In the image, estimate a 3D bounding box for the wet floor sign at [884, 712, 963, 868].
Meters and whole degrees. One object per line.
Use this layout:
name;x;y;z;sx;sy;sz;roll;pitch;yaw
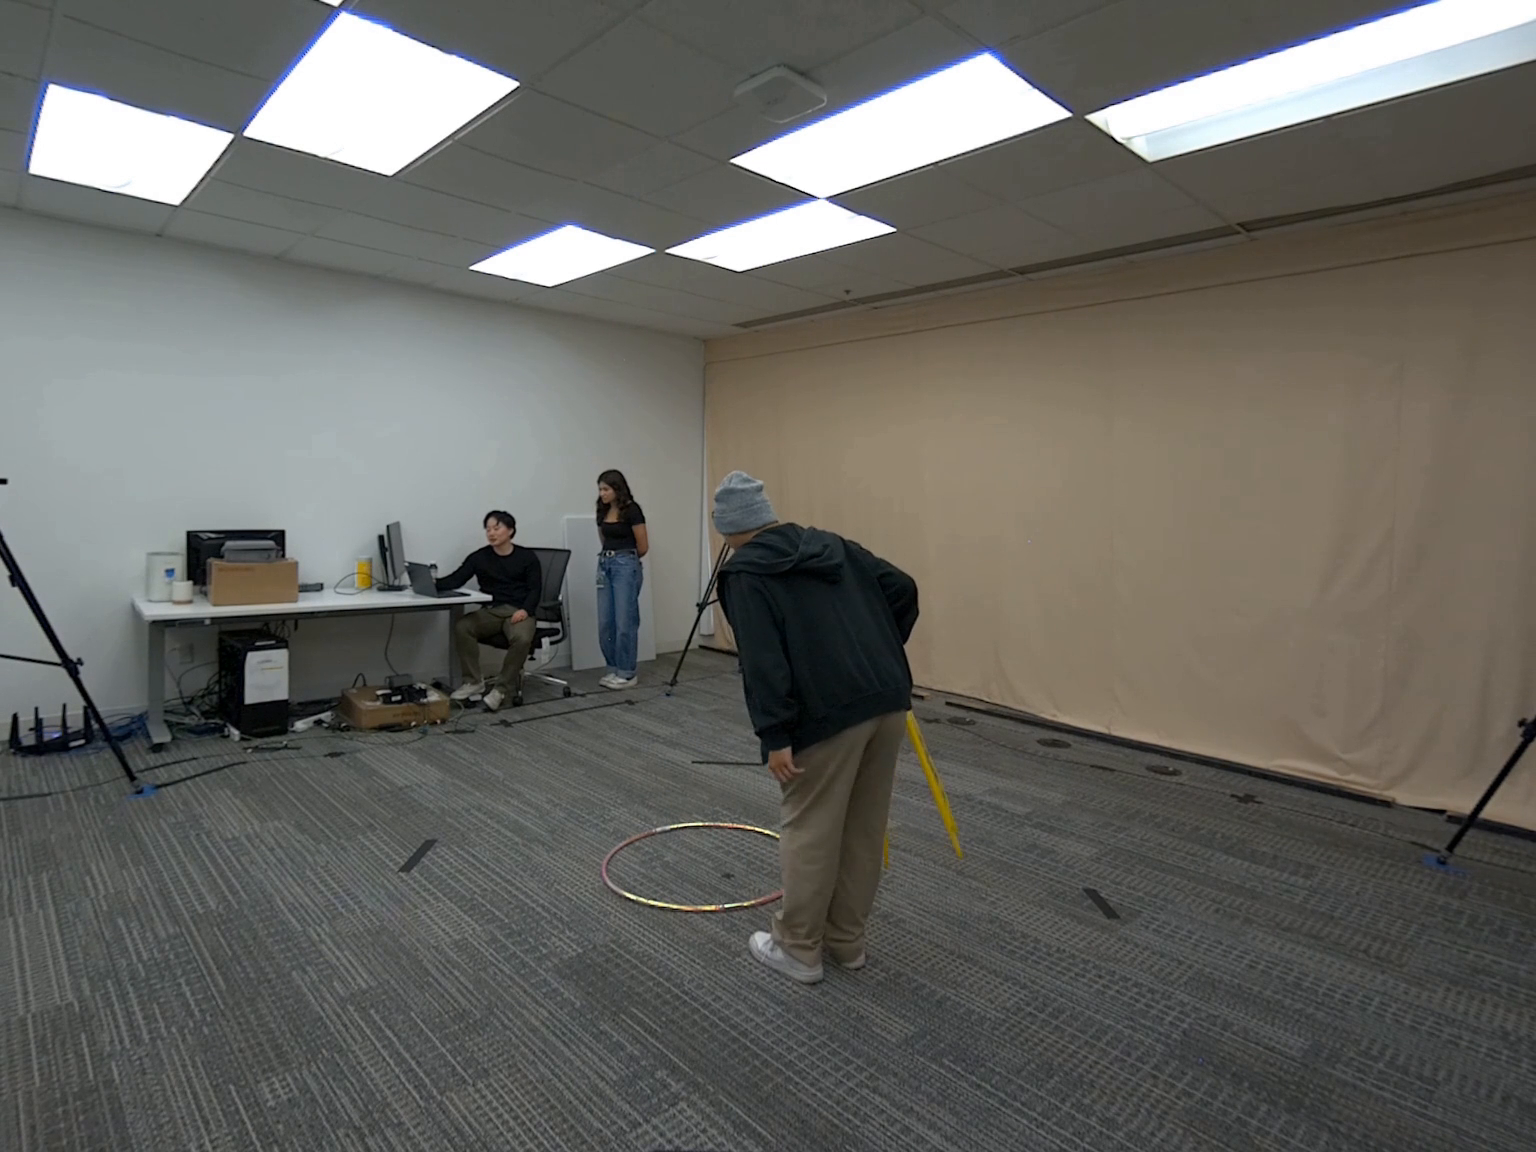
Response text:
wet floor sign;0.423;0.572;2.764;0.292;0.648;0.279;-12;-3;10
